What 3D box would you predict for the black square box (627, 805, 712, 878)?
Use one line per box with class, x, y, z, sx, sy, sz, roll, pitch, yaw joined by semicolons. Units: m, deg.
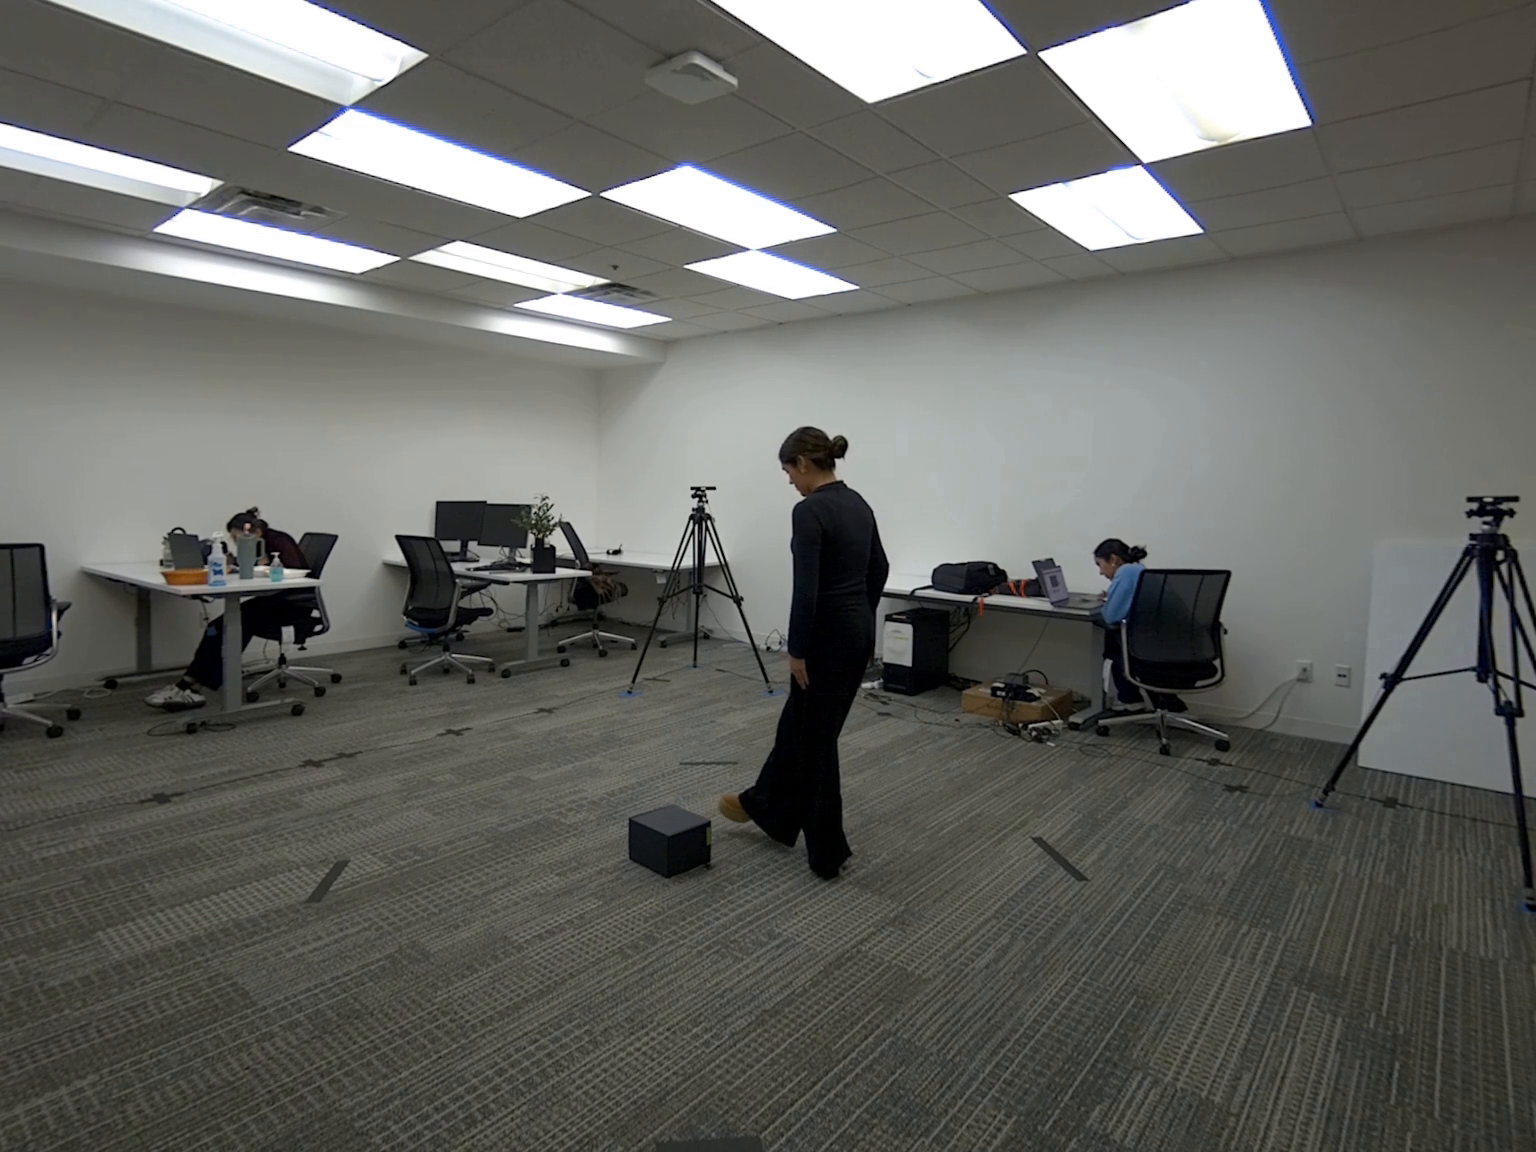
black square box;-0.374;0.975;3.166;0.235;0.155;0.210;4;5;43
